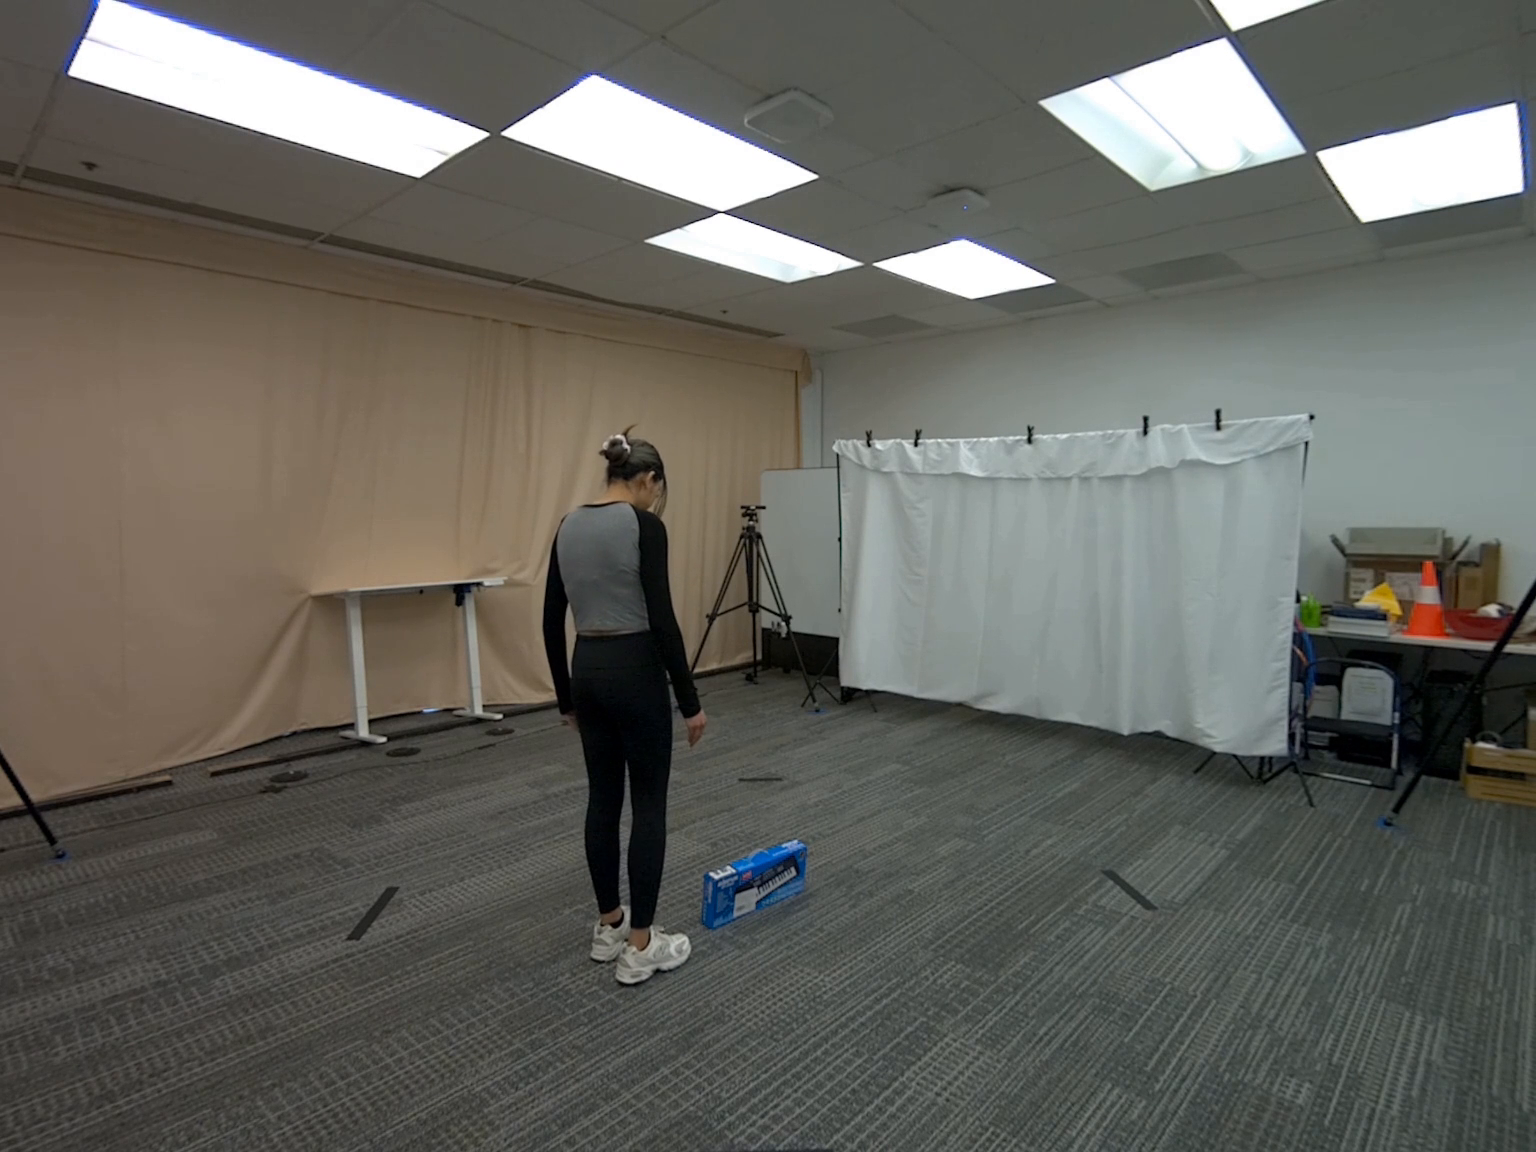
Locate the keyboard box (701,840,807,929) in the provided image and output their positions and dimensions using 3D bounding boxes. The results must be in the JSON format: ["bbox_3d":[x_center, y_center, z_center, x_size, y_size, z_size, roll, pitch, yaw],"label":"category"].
[{"bbox_3d":[-0.039,1.064,2.913,0.423,0.175,0.061,-4,11,-42],"label":"keyboard box"}]
